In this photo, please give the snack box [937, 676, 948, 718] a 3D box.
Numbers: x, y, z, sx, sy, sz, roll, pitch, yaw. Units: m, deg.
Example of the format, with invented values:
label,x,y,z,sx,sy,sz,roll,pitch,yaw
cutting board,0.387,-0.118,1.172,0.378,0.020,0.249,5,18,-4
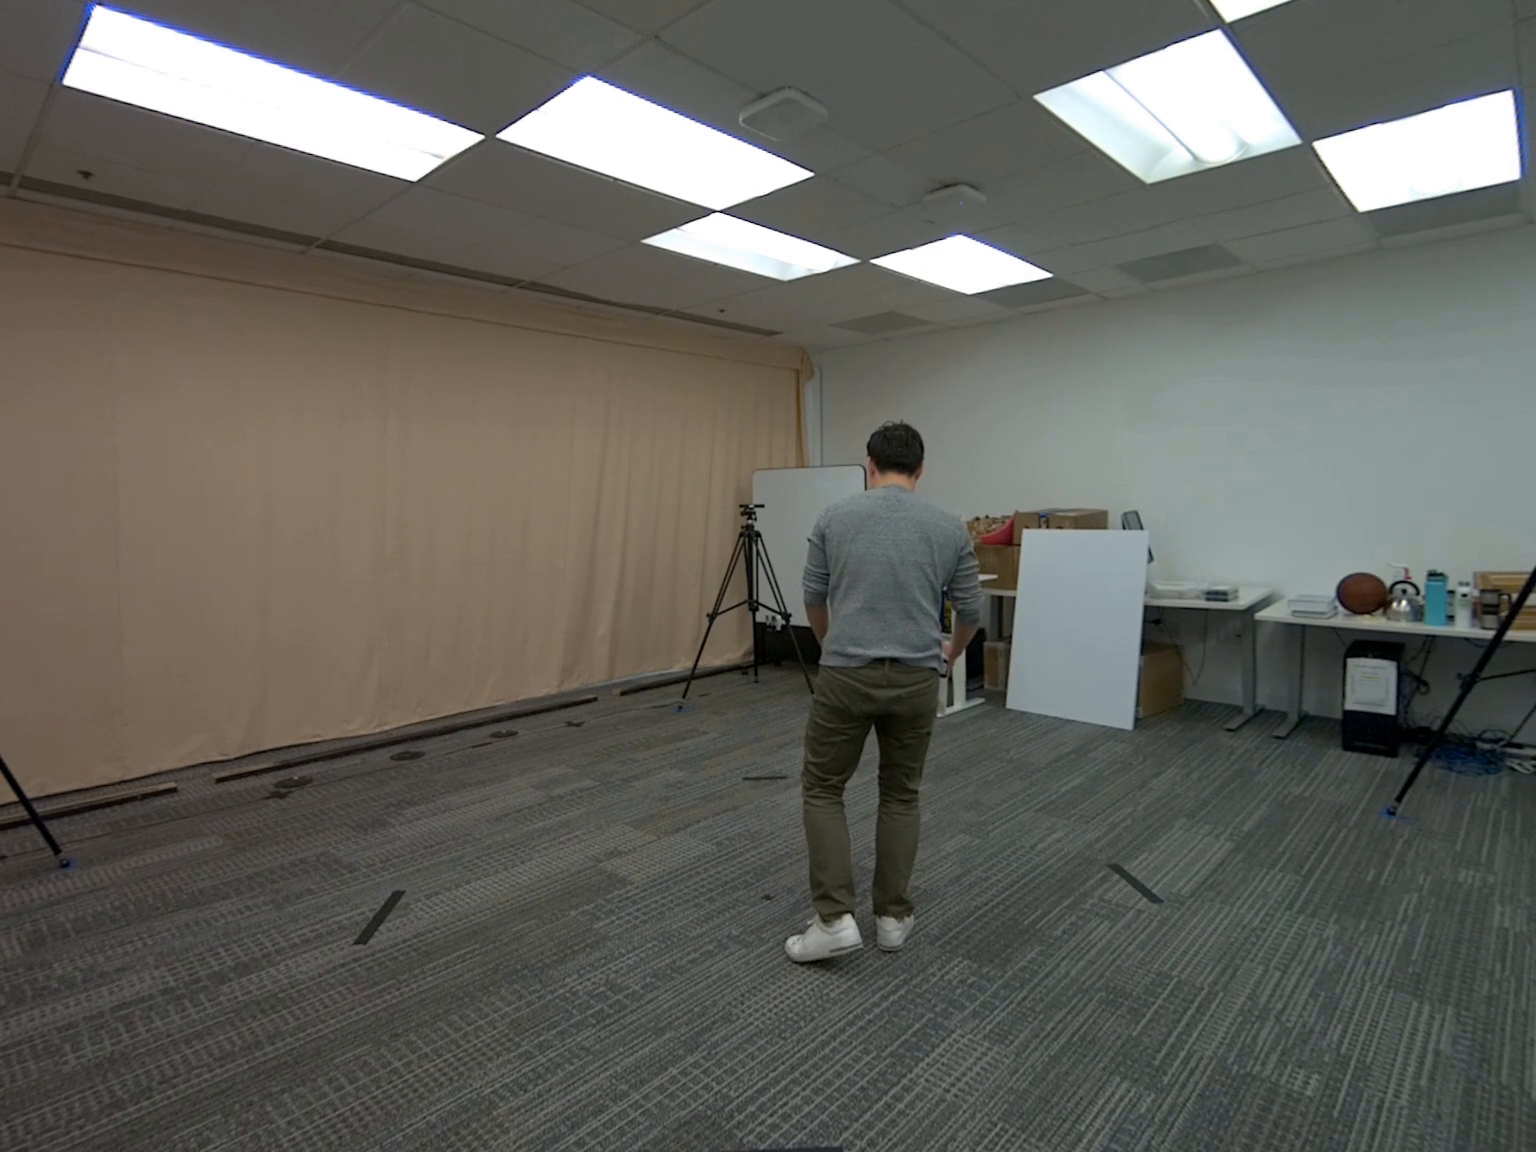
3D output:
label,x,y,z,sx,sy,sz,roll,pitch,yaw
snack box,0.429,0.365,3.075,0.408,0.205,0.338,2,1,6
